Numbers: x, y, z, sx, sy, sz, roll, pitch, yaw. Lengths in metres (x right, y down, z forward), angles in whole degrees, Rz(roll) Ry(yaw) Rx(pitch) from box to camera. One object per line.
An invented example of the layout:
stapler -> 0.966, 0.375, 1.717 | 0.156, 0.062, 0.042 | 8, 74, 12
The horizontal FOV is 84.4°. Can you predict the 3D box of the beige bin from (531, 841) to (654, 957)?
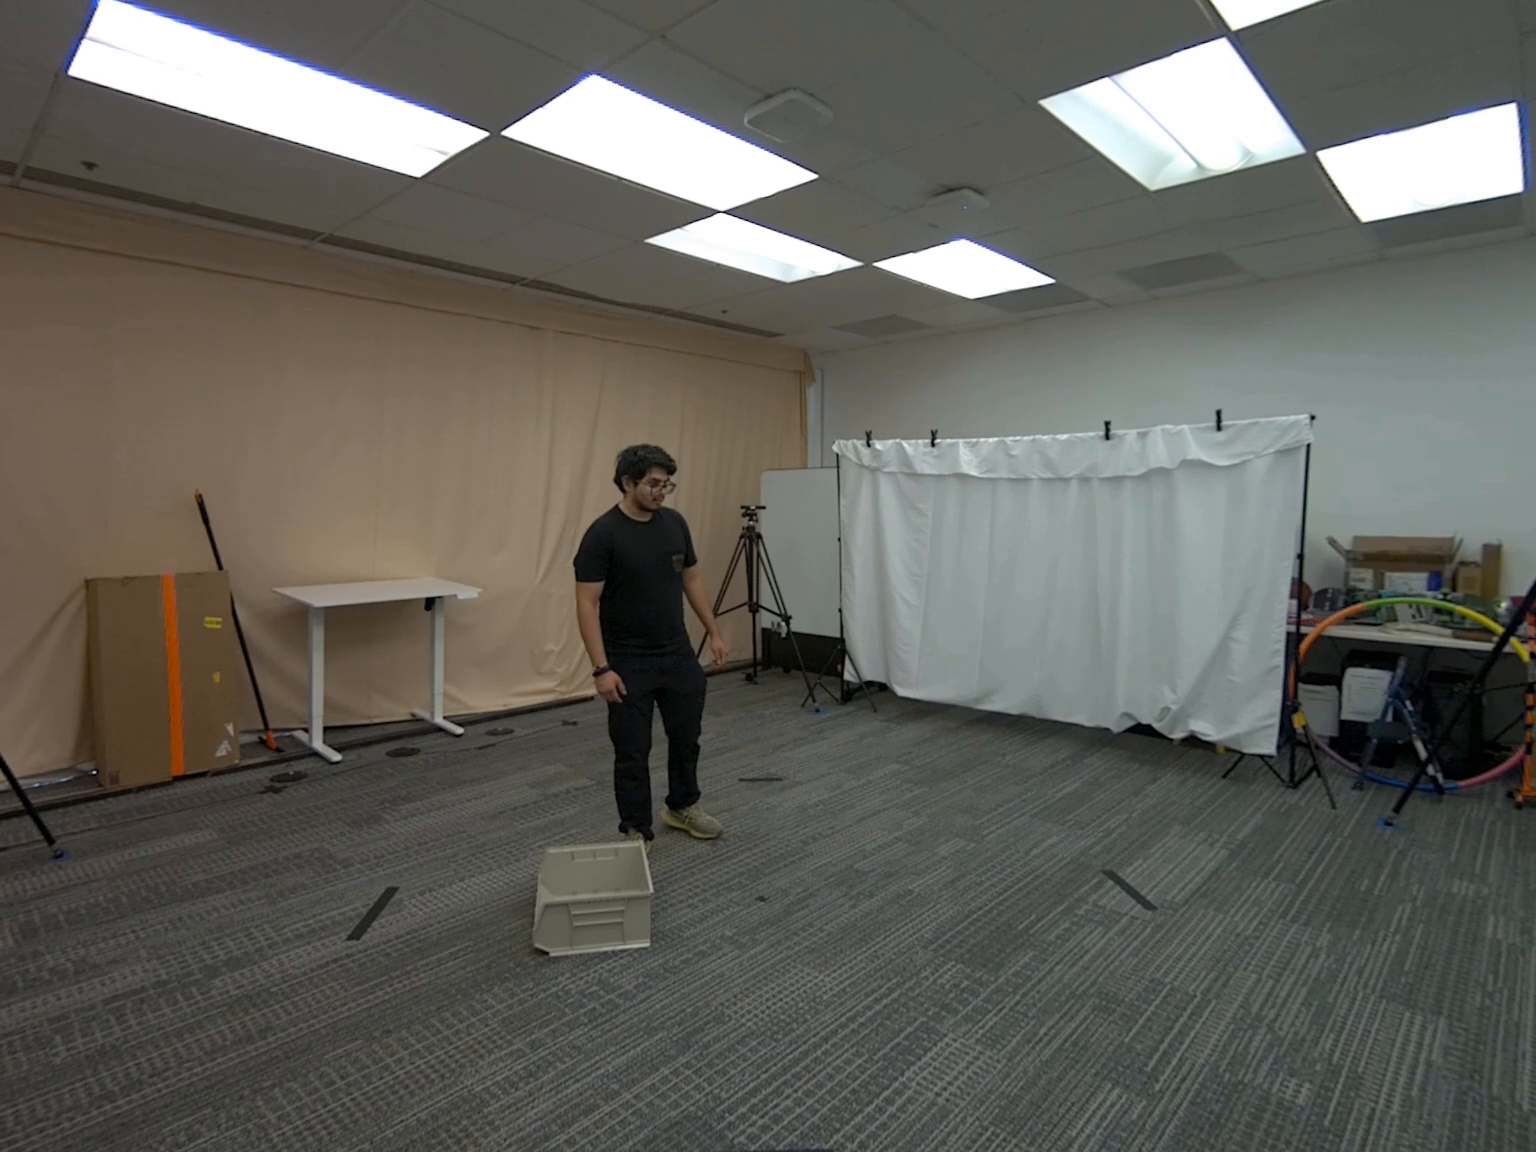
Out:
beige bin -> -0.598, 1.070, 2.827 | 0.373, 0.188, 0.428 | 0, 4, -11
